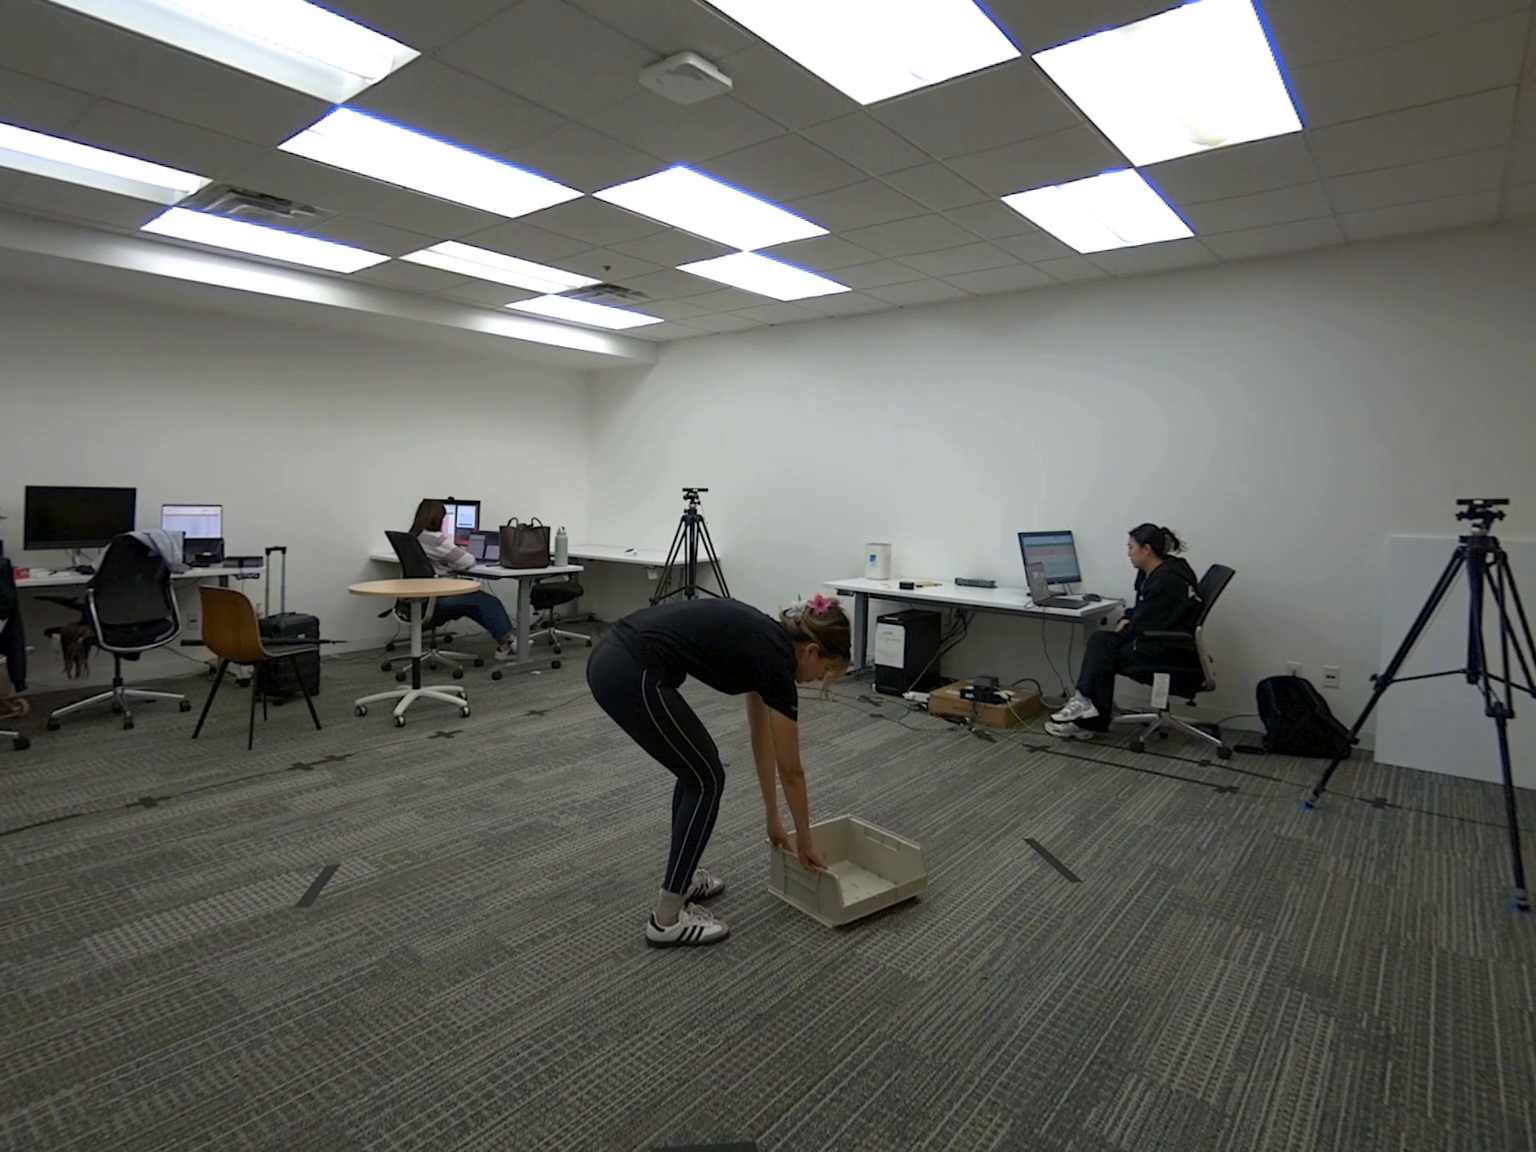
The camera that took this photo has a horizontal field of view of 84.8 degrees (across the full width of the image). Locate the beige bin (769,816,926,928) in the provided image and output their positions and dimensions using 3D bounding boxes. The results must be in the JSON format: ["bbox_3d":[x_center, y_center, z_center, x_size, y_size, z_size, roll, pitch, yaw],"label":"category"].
[{"bbox_3d":[0.265,1.008,2.926,0.410,0.188,0.390,-4,6,-39],"label":"beige bin"}]
